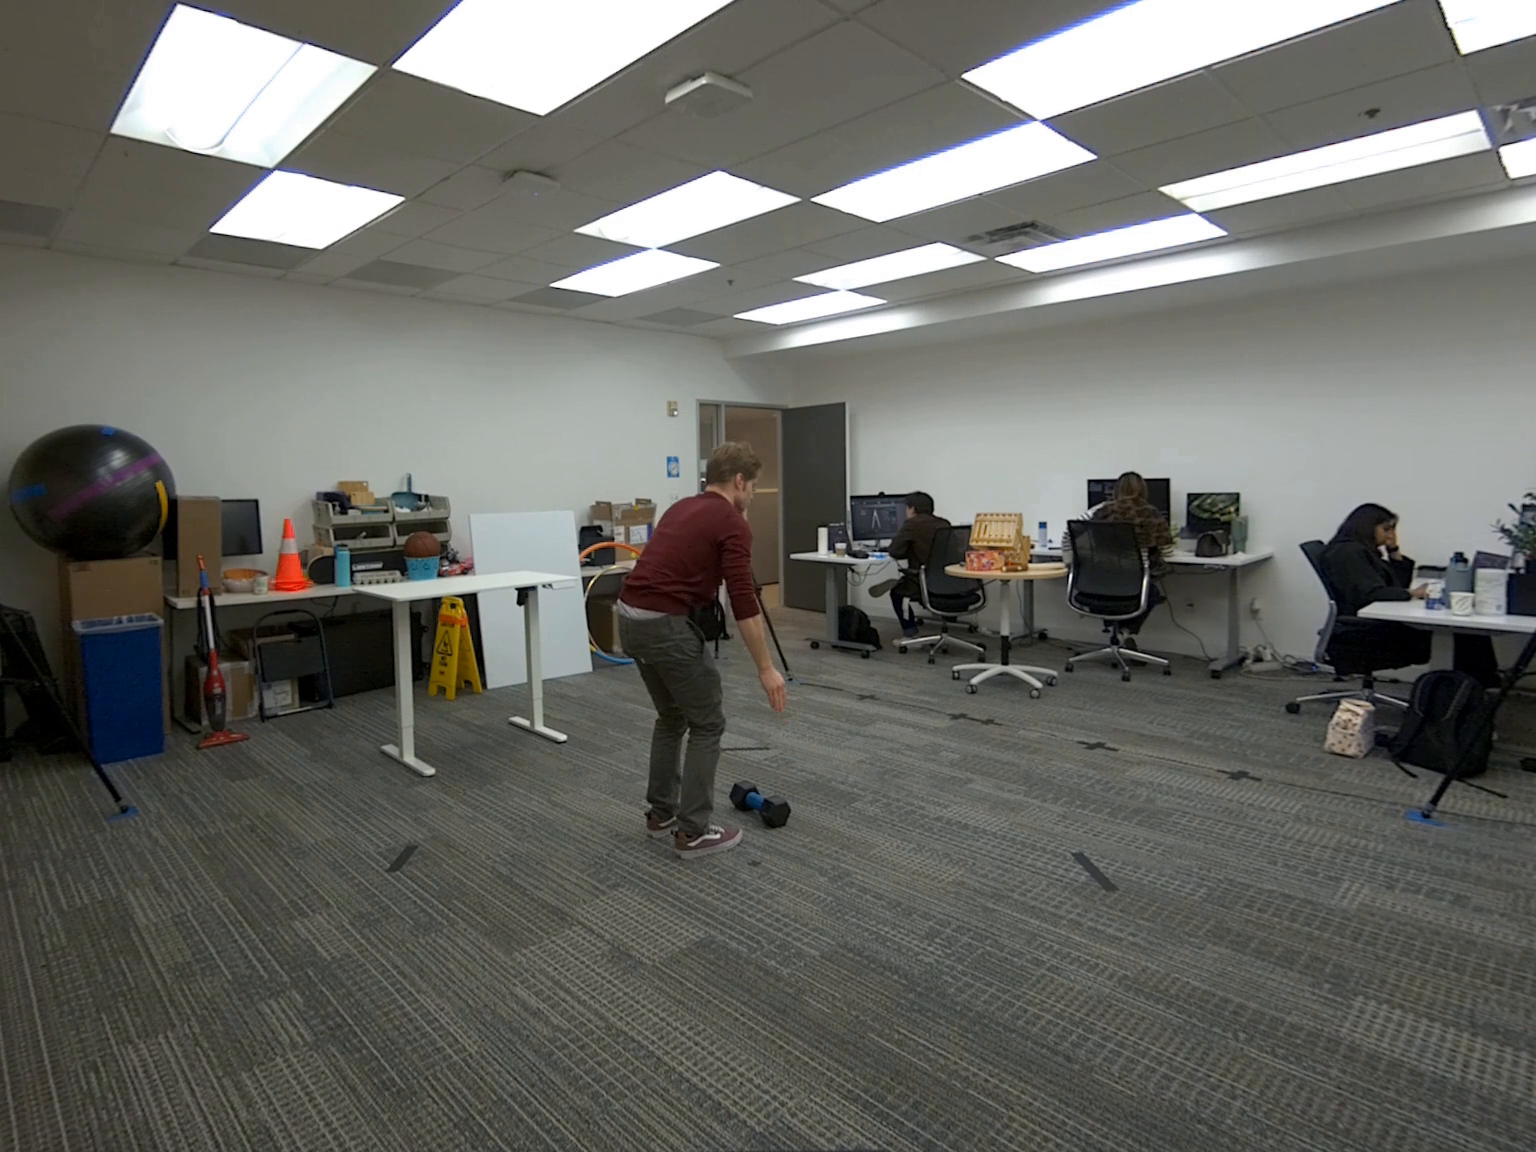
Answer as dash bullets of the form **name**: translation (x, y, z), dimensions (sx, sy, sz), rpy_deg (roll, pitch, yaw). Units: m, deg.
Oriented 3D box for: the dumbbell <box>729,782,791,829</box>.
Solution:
- **dumbbell**: translation (-0.035, 0.940, 3.537), dimensions (0.108, 0.120, 0.302), rpy_deg (-34, 21, -27)
